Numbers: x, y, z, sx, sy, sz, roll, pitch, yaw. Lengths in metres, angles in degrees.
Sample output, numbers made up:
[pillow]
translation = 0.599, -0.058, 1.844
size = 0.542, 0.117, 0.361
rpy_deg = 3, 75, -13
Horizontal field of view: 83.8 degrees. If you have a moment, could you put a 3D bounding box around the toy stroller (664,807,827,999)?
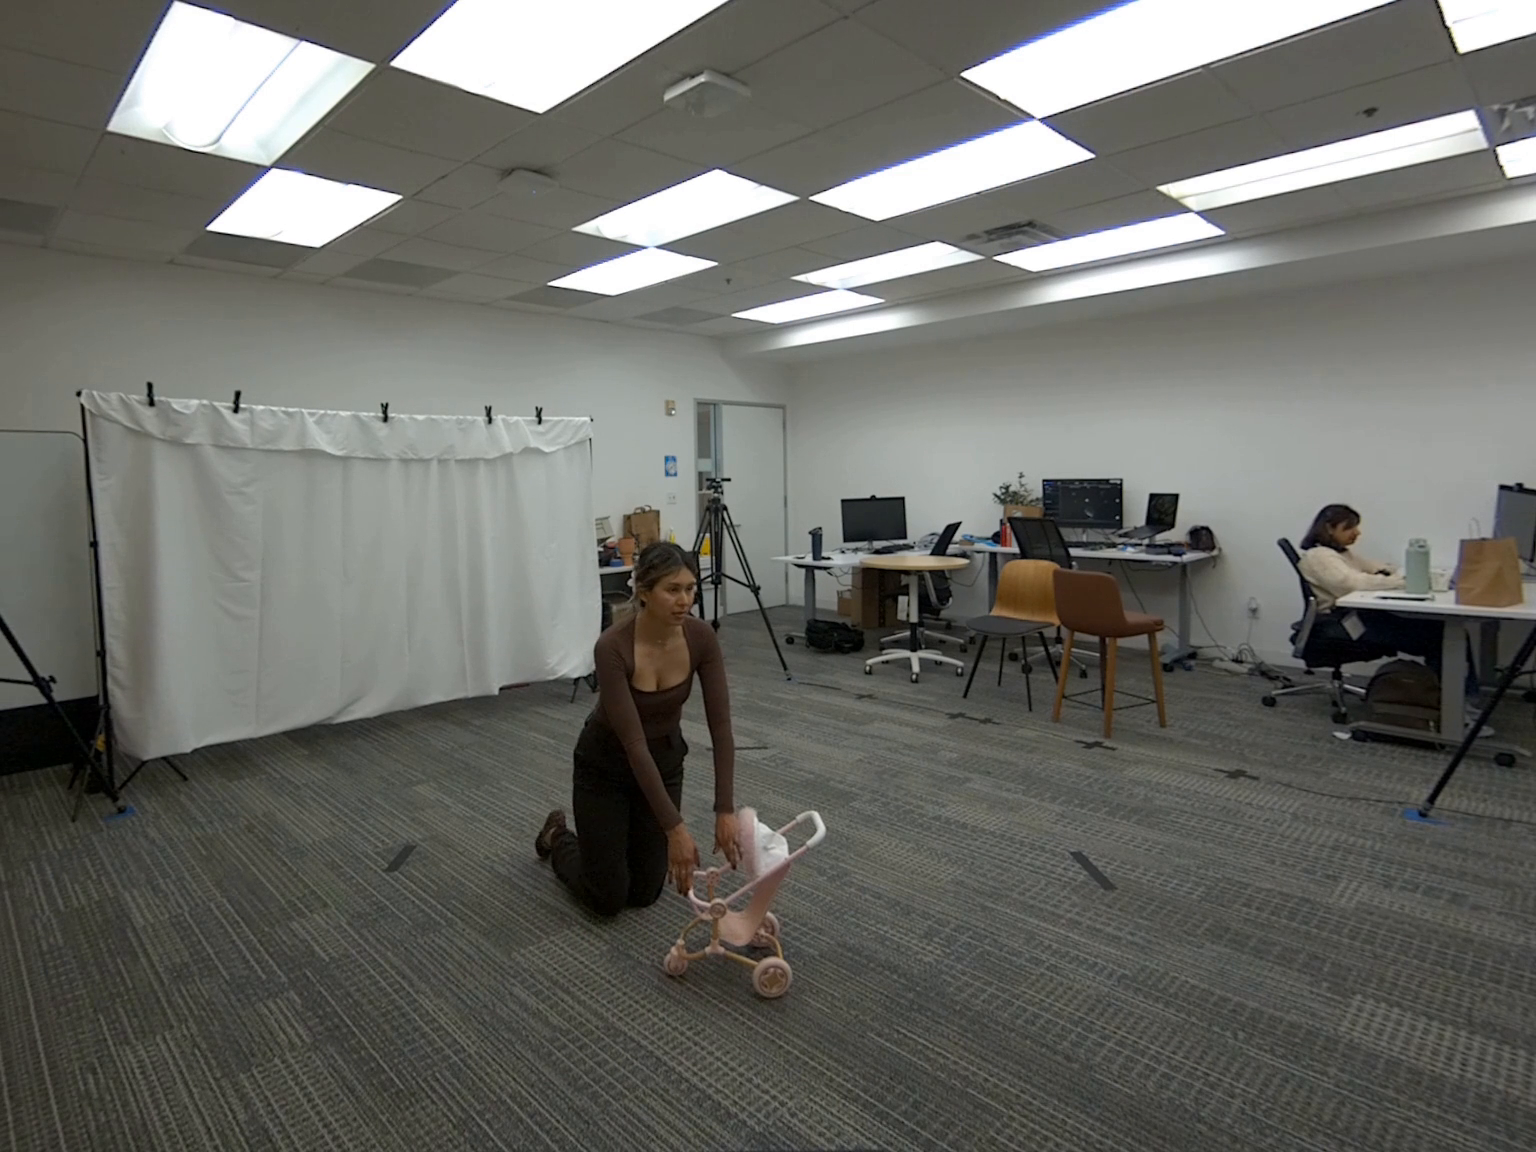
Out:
[toy stroller]
translation = -0.070, 0.900, 2.415
size = 0.341, 0.534, 0.282
rpy_deg = 14, 3, -2
